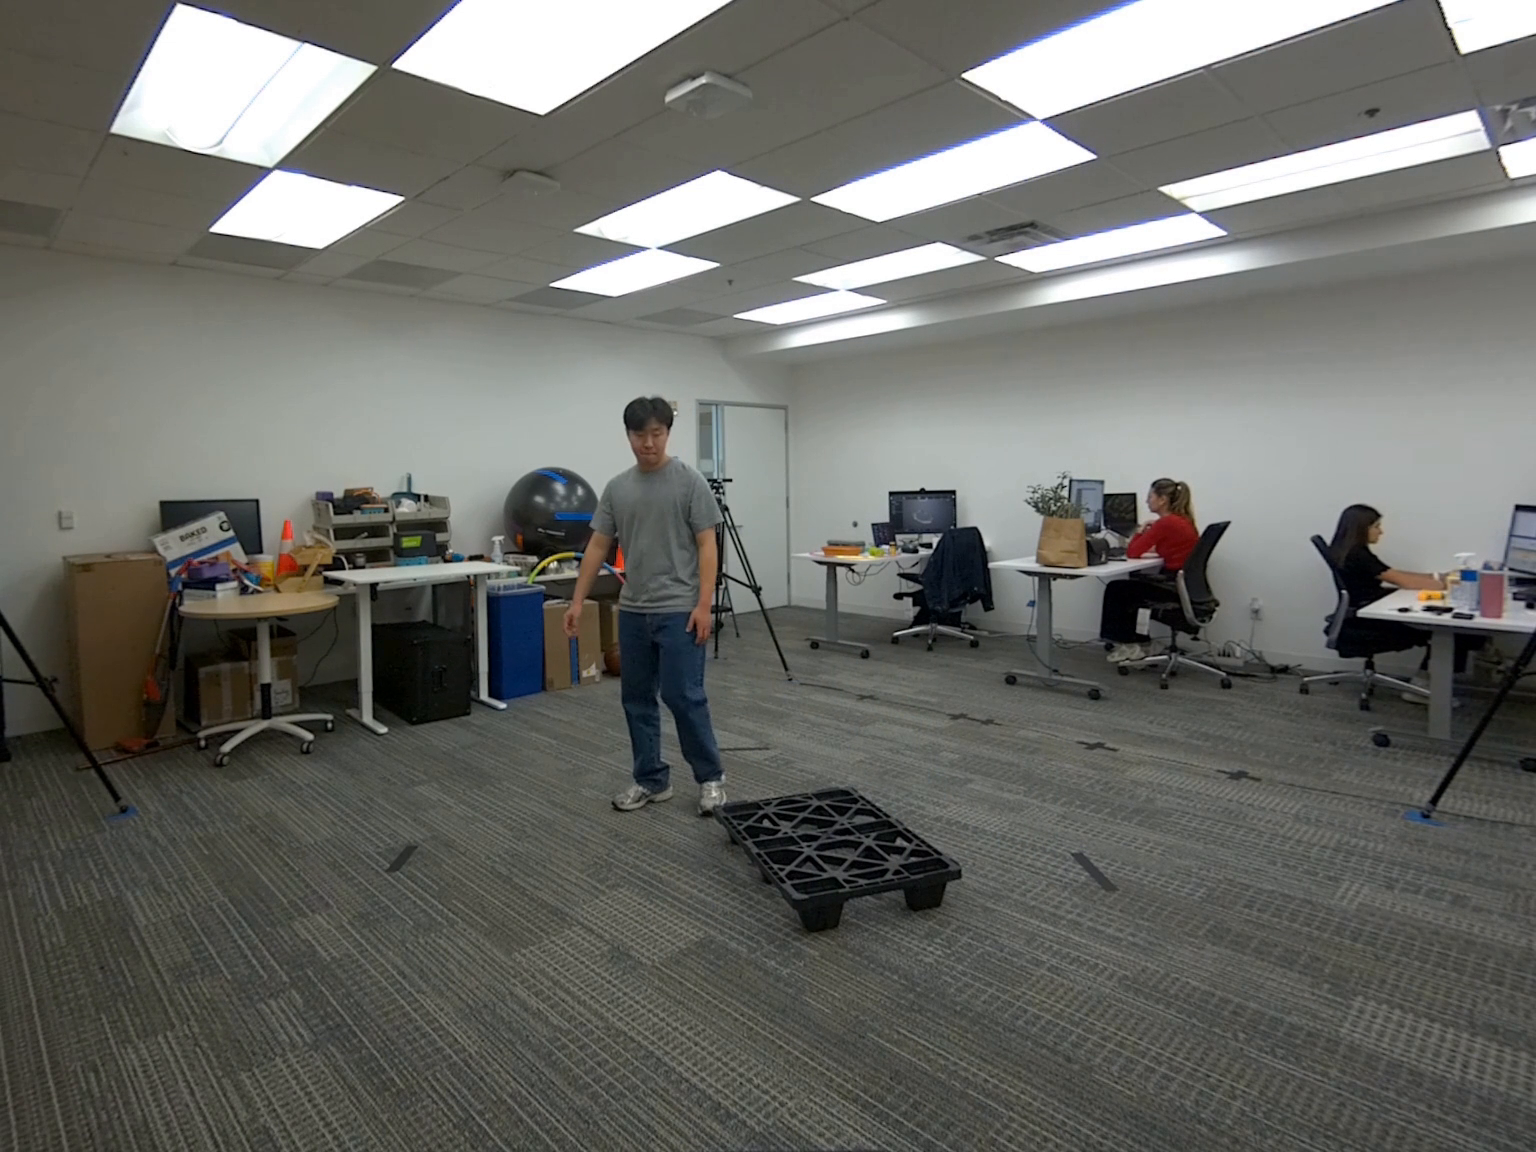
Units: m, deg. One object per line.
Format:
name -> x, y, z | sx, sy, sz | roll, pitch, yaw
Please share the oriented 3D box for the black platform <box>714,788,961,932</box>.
black platform -> 0.209, 0.982, 3.031 | 0.595, 0.143, 0.823 | -4, 7, -20
